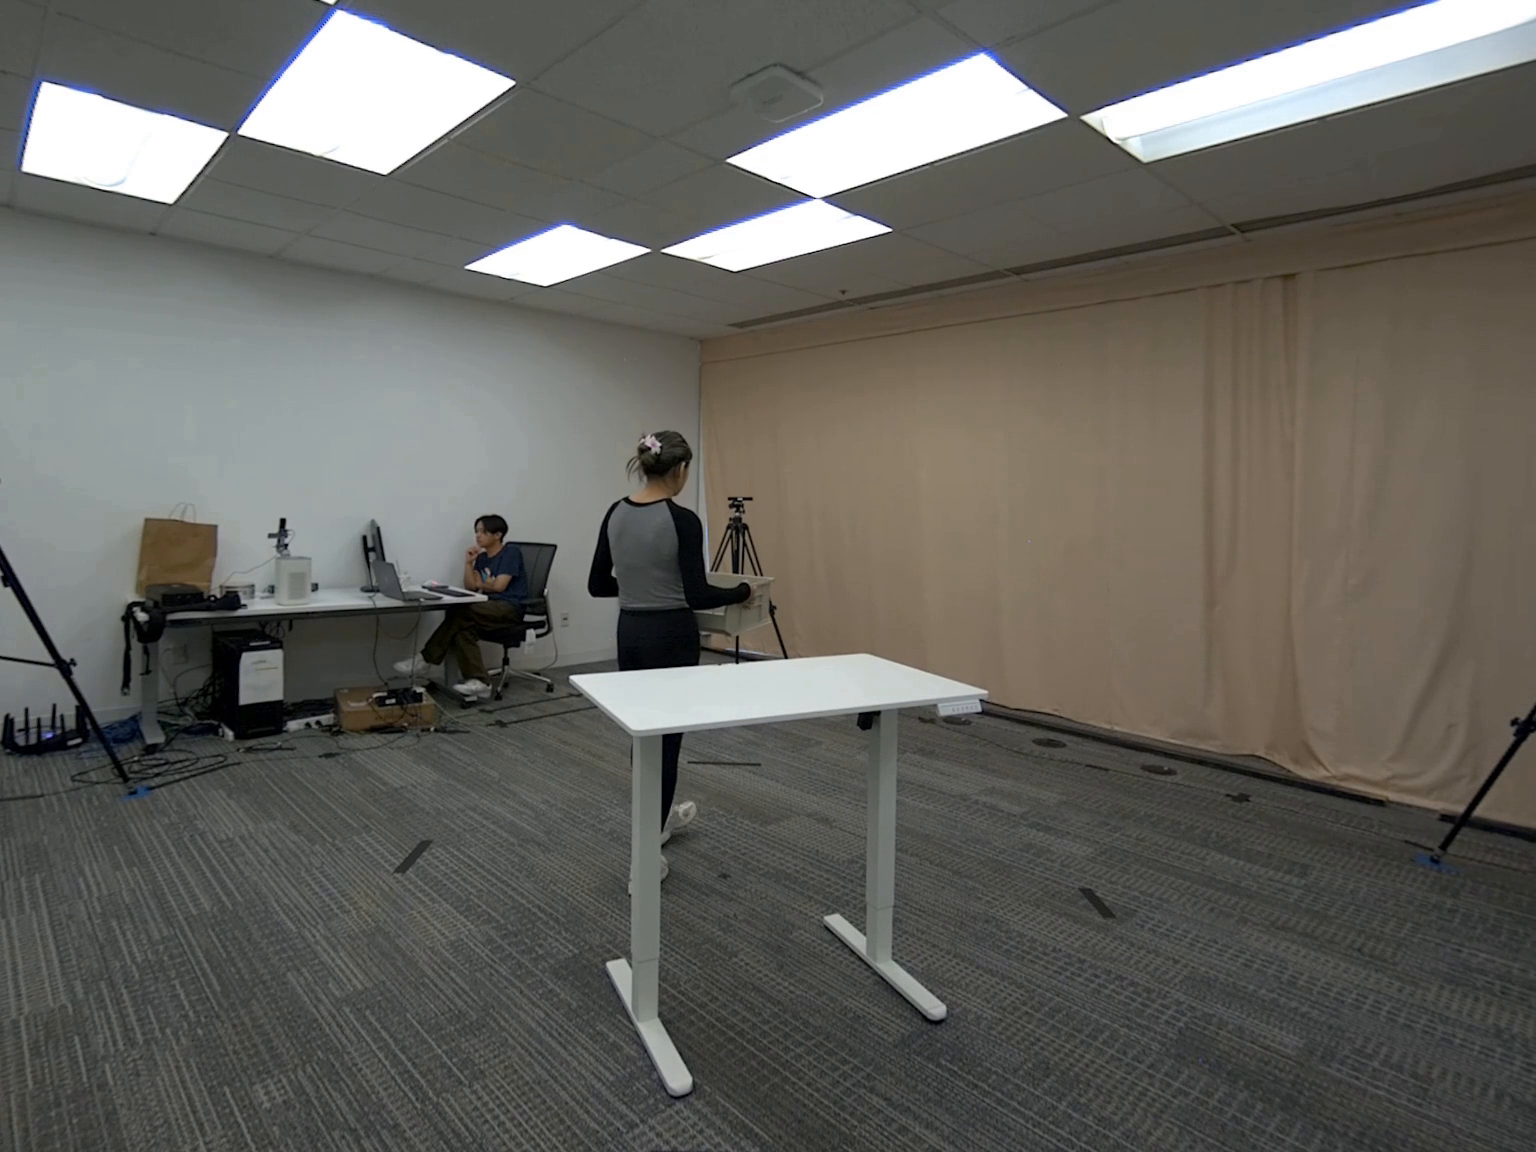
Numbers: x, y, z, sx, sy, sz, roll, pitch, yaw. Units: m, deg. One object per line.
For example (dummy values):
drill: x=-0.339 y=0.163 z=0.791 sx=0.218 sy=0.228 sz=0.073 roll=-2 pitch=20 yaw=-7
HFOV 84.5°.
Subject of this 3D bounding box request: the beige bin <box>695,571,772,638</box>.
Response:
beige bin: x=-0.247 y=0.104 z=3.278 sx=0.431 sy=0.188 sz=0.371 roll=5 pitch=7 yaw=28
